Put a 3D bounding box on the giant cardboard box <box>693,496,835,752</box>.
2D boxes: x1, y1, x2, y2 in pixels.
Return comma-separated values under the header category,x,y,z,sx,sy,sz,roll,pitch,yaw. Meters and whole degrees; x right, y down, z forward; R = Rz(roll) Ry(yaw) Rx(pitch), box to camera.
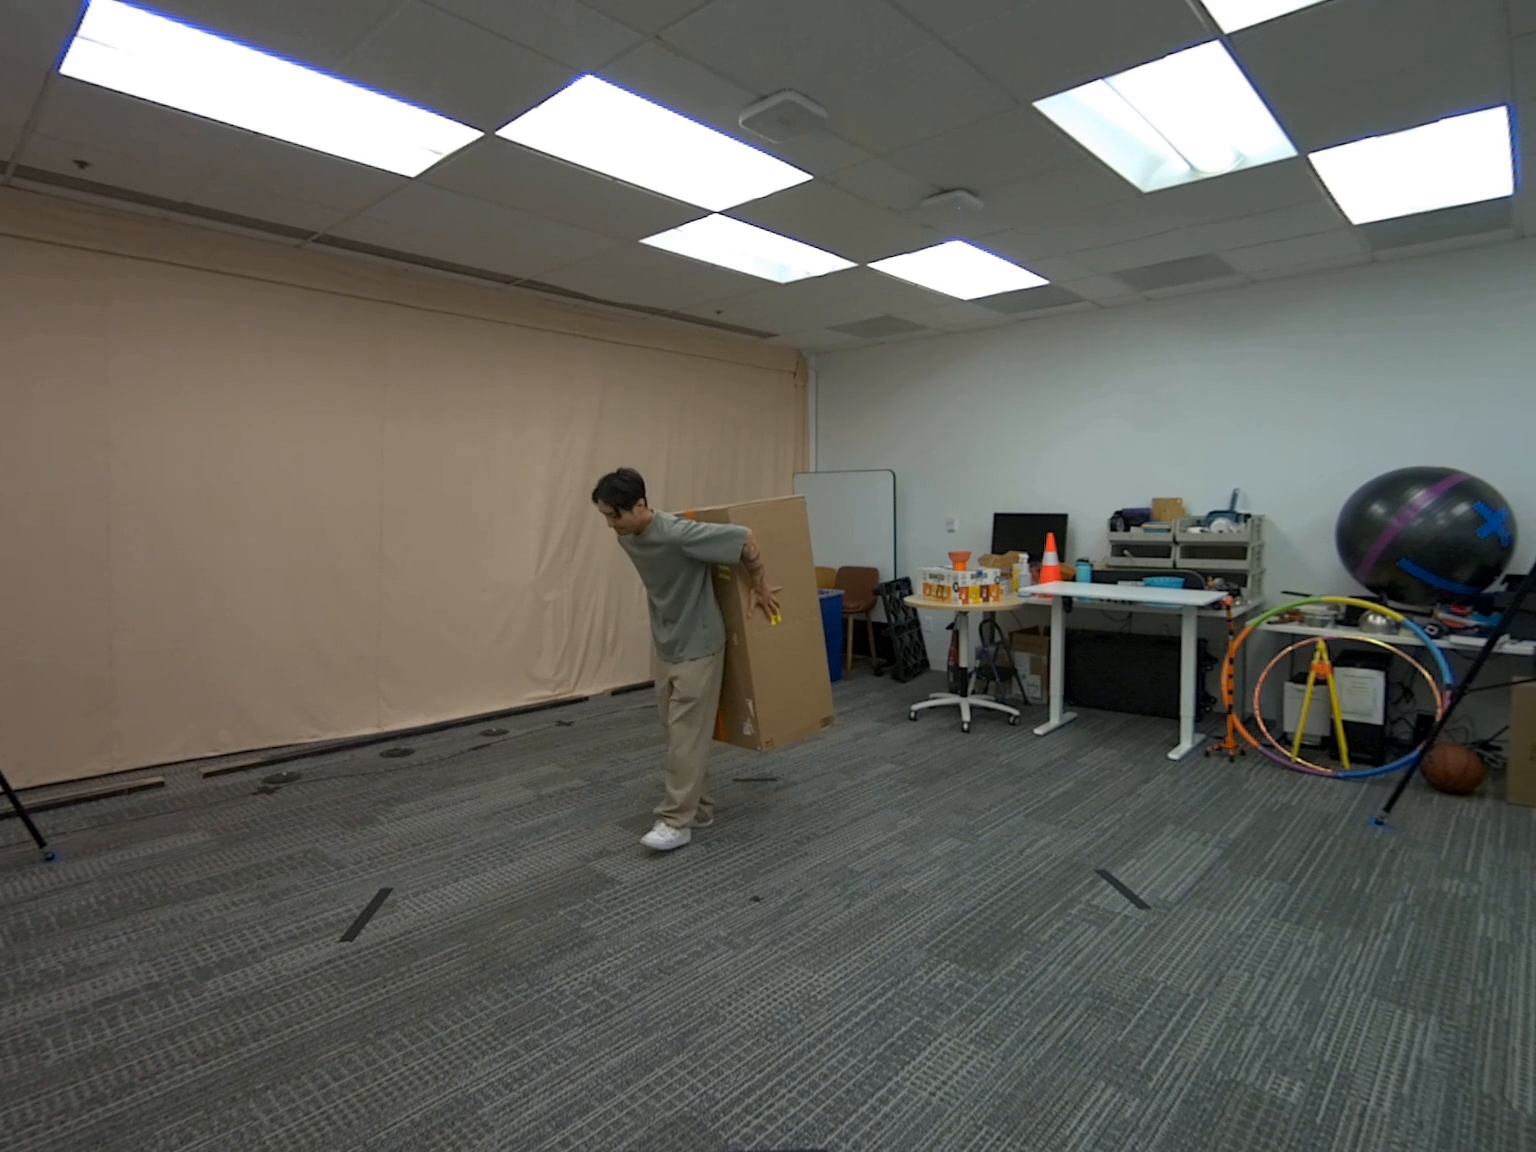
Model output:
category,x,y,z,sx,sy,sz,roll,pitch,yaw
giant cardboard box,-0.106,0.193,3.774,0.415,1.023,0.595,-11,5,-37
